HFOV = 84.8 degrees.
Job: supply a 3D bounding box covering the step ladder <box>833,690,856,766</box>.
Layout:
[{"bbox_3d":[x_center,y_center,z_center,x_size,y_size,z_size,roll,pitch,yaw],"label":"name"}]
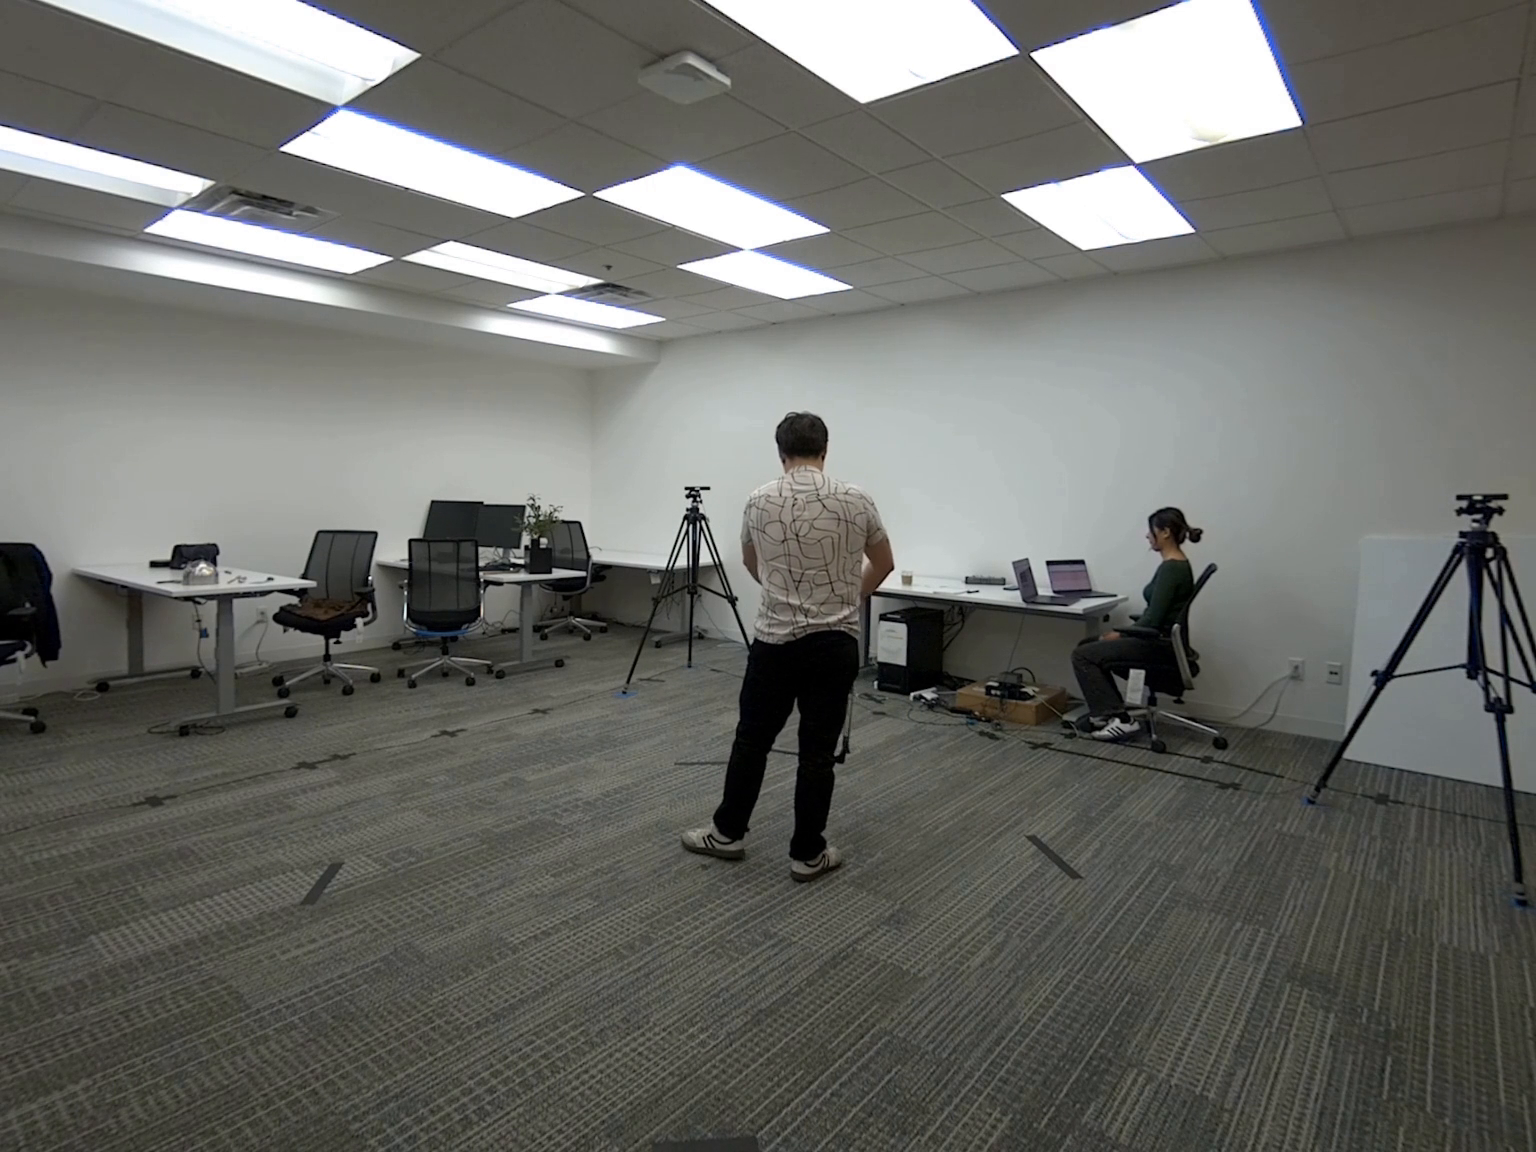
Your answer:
[{"bbox_3d":[0.133,0.416,3.519,0.436,0.608,0.343,6,-4,10],"label":"step ladder"}]
